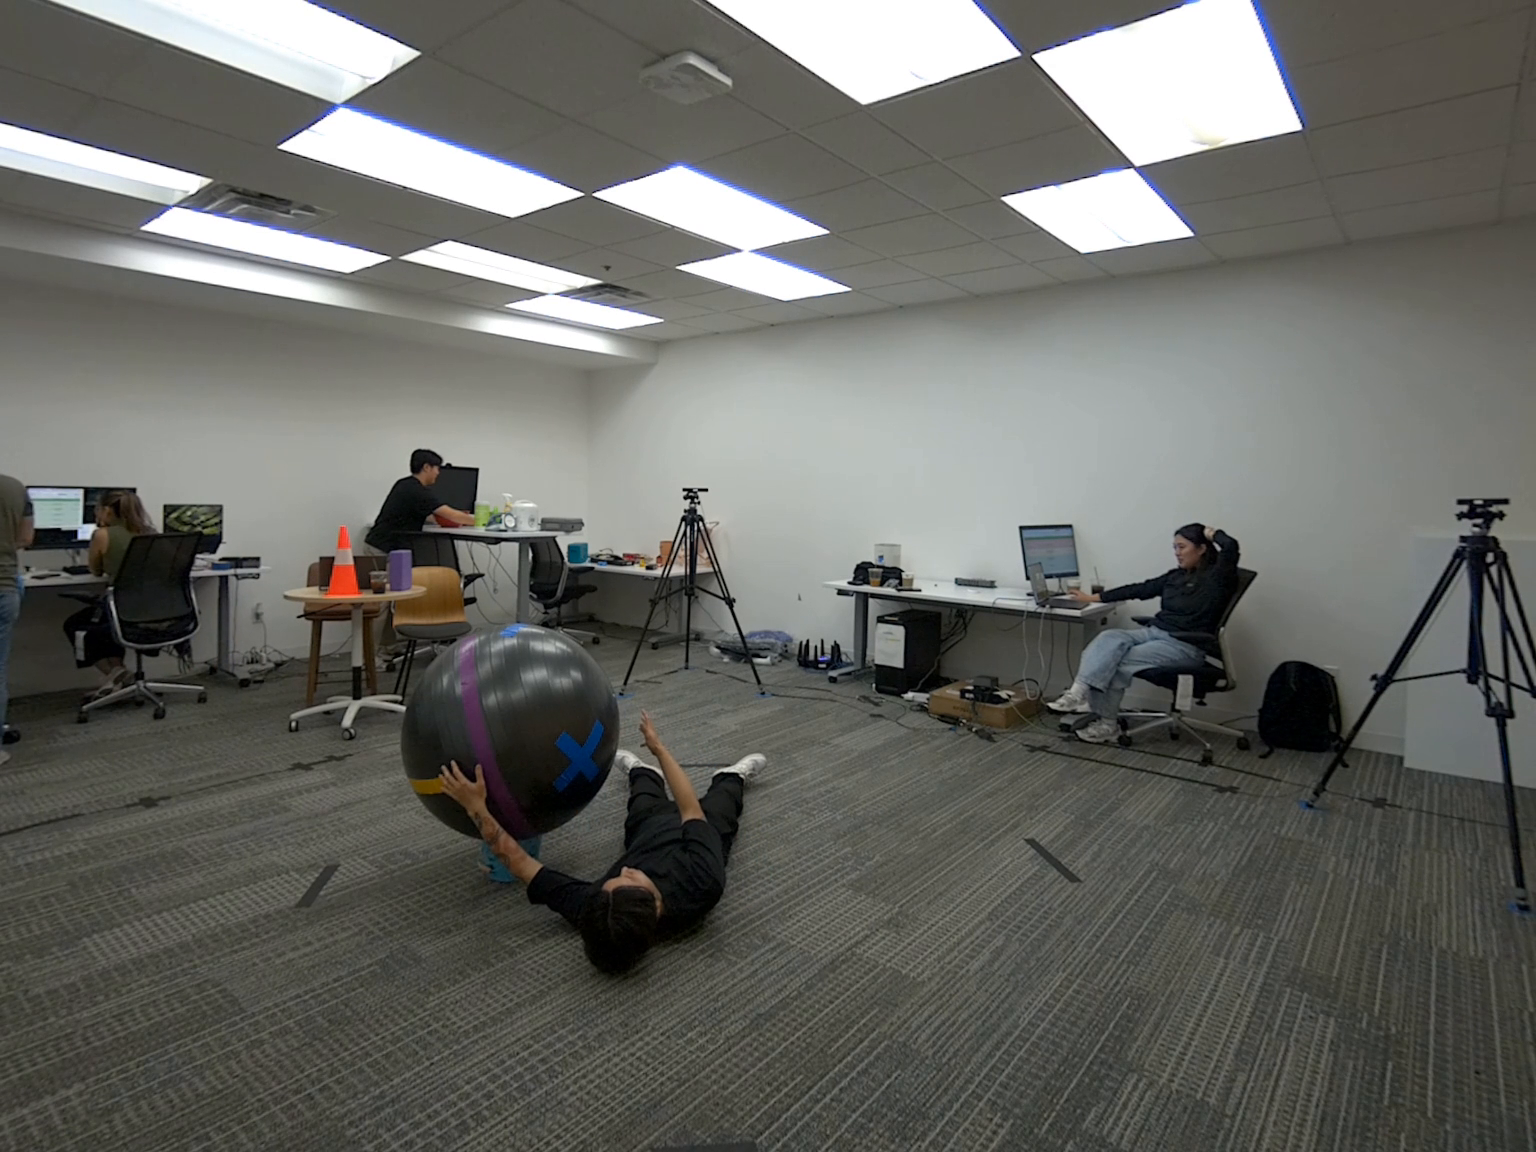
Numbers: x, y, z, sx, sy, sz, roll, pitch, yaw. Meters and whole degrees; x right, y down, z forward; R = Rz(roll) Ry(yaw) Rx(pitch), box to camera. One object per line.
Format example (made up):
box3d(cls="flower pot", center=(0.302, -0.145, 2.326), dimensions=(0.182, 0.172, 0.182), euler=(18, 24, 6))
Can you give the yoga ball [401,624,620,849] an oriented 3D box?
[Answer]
box3d(cls="yoga ball", center=(-0.925, 0.556, 3.056), dimensions=(0.757, 0.755, 0.762), euler=(1, 4, -2))
